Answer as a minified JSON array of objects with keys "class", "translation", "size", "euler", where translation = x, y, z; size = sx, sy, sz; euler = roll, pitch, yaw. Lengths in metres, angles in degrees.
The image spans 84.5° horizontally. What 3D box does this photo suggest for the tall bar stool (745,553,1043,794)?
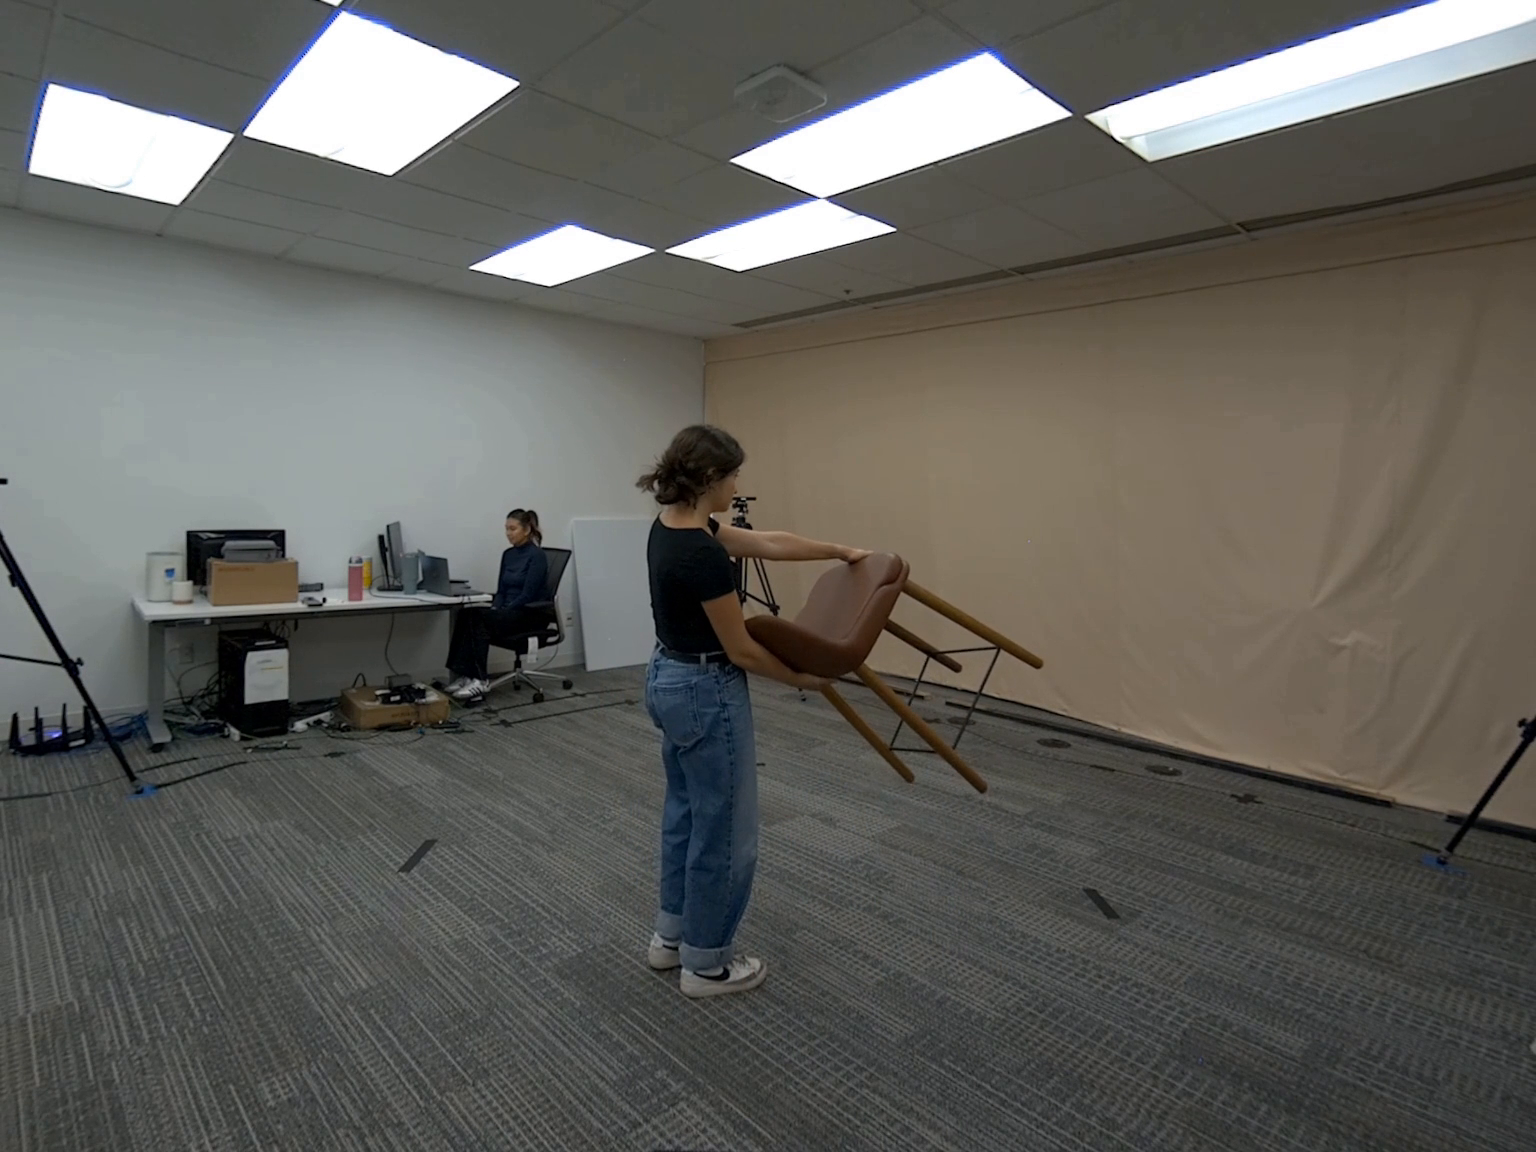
[{"class":"tall bar stool","translation":[0.309,0.227,2.546],"size":[0.876,0.470,0.461],"euler":[36,-21,-15]}]
